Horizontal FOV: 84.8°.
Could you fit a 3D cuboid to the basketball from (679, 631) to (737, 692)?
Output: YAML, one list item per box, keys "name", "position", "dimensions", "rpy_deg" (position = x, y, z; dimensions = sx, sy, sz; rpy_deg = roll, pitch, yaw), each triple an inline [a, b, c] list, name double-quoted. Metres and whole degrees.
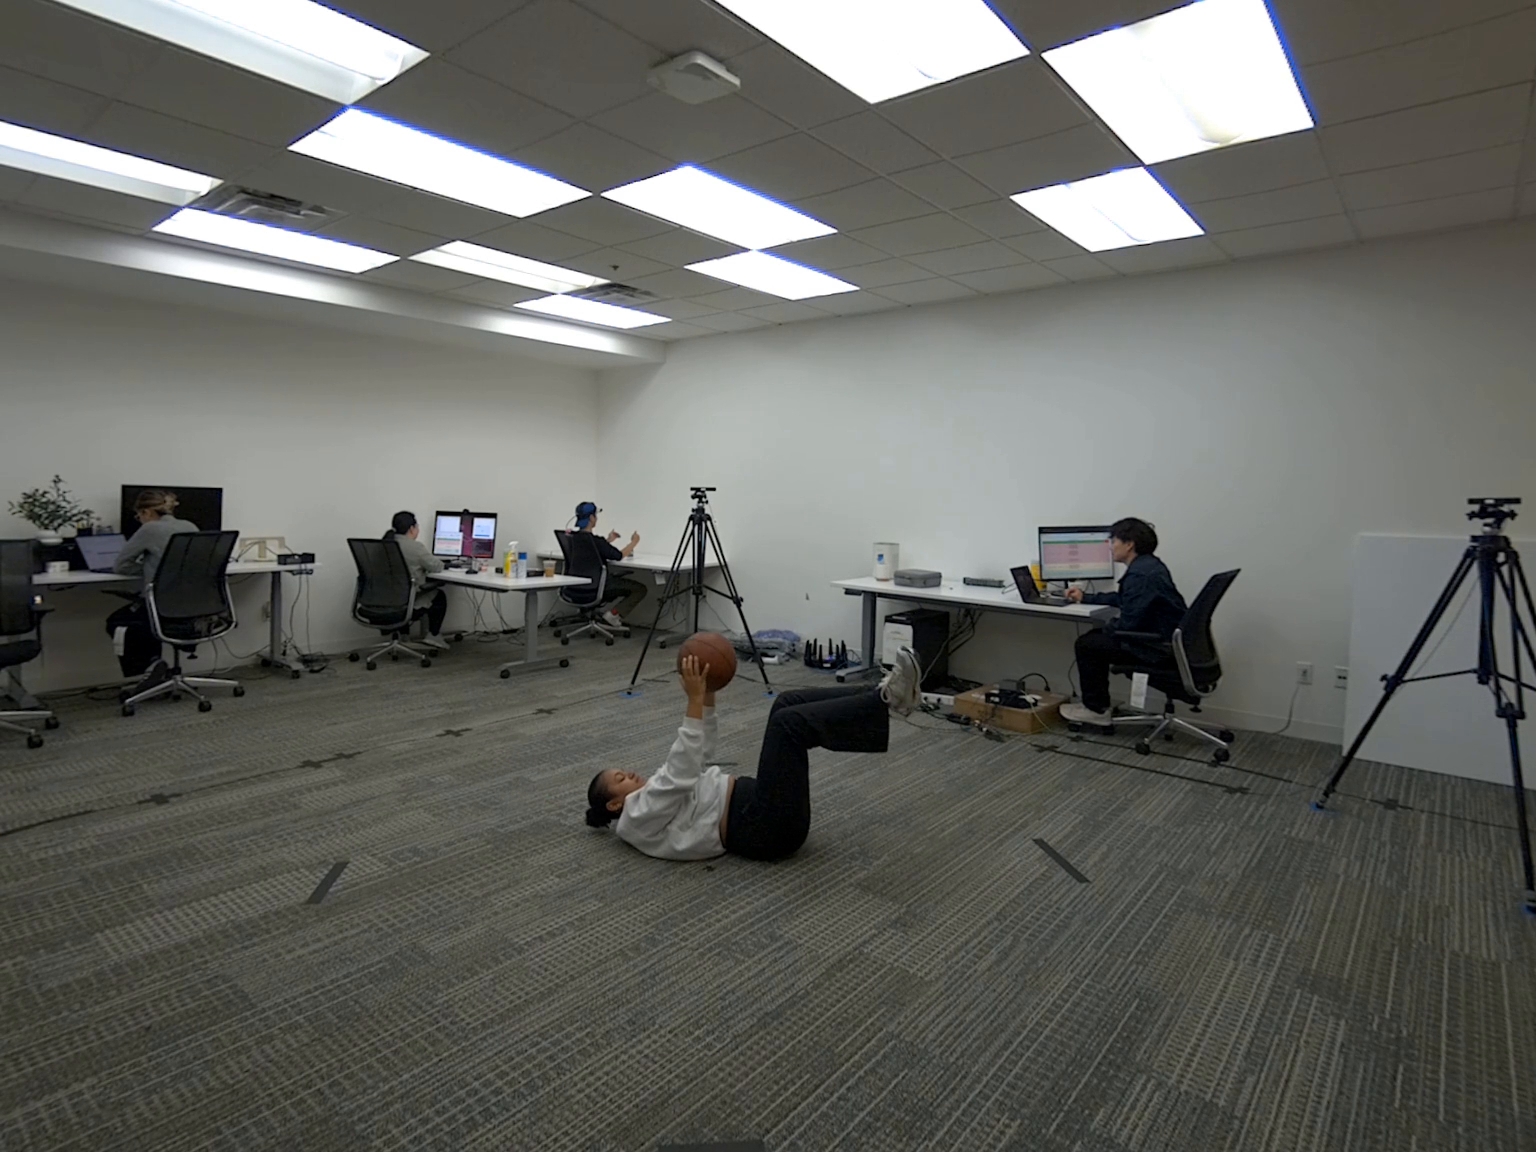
- name: "basketball"
  position: [-0.267, 0.337, 3.359]
  dimensions: [0.236, 0.235, 0.237]
  rpy_deg: [0, 4, -2]
